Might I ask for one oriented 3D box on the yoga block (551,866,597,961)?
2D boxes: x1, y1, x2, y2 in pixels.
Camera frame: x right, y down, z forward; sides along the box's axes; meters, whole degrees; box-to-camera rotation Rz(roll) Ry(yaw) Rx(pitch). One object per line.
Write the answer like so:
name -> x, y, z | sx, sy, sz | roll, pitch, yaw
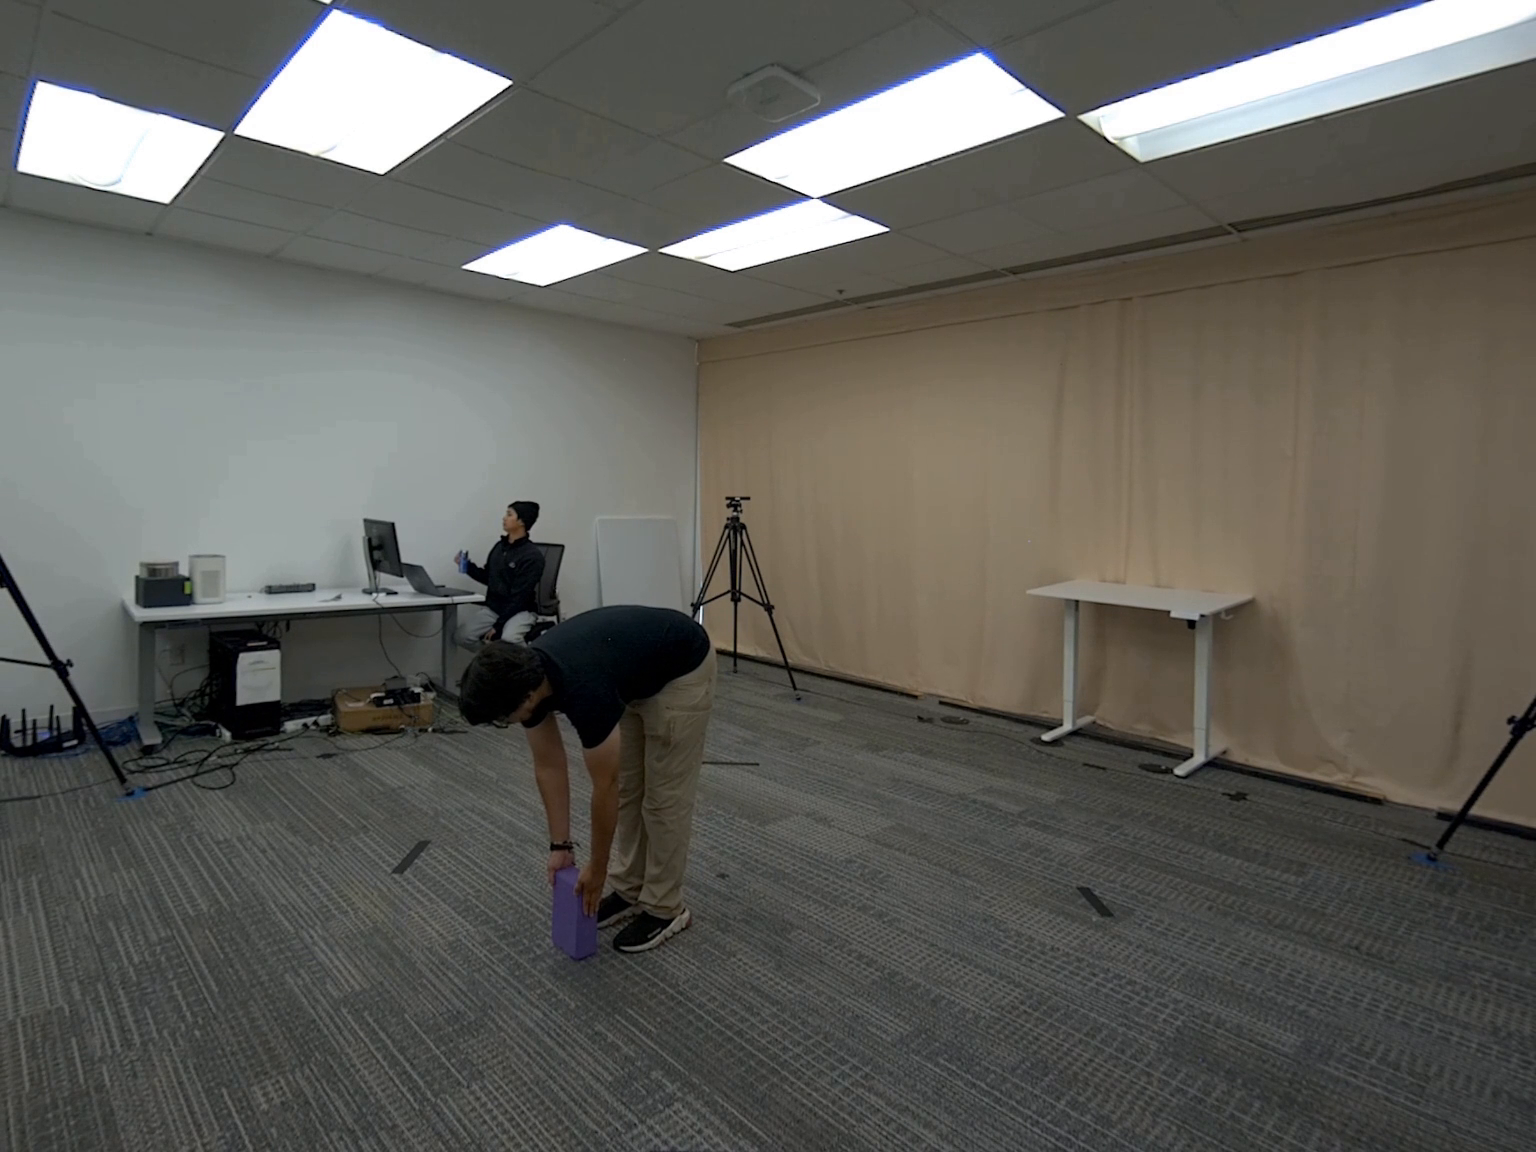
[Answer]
yoga block -> -0.600, 1.036, 2.572 | 0.075, 0.228, 0.153 | -3, 7, -42
